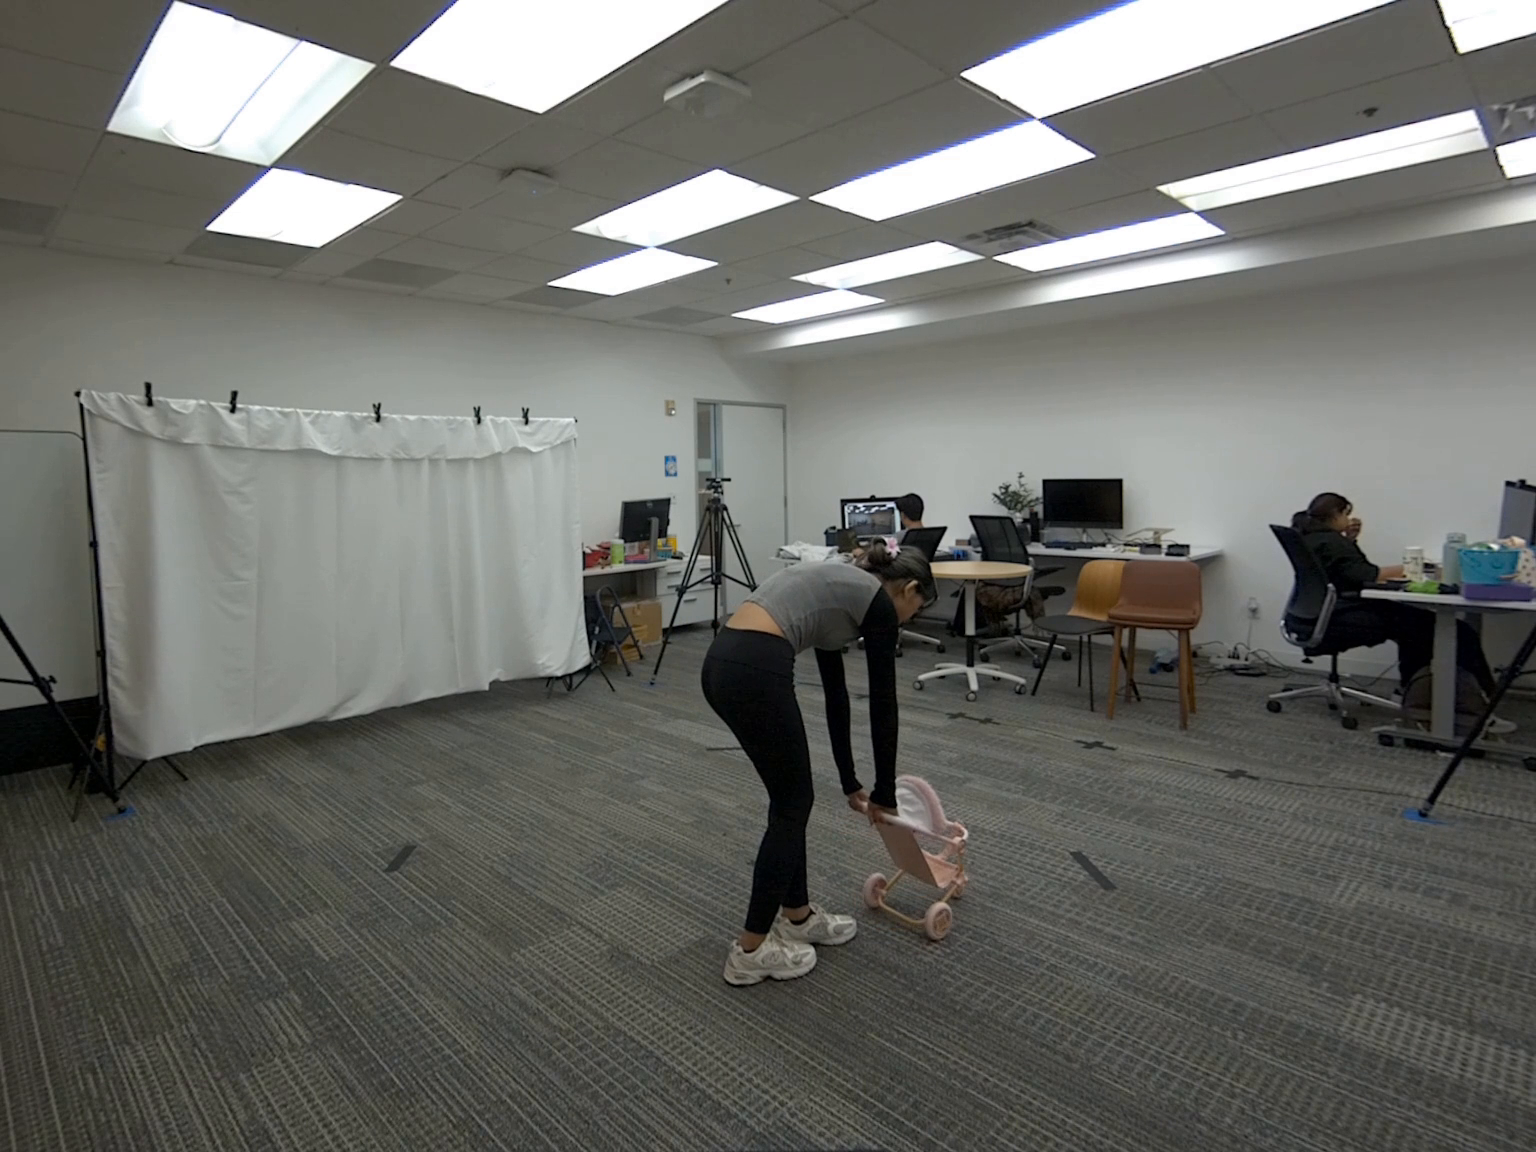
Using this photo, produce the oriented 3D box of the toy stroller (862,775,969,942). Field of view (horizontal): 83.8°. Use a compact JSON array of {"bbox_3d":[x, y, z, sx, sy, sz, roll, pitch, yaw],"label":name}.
[{"bbox_3d":[0.482,0.858,2.694,0.336,0.526,0.290,-24,17,-32],"label":"toy stroller"}]
